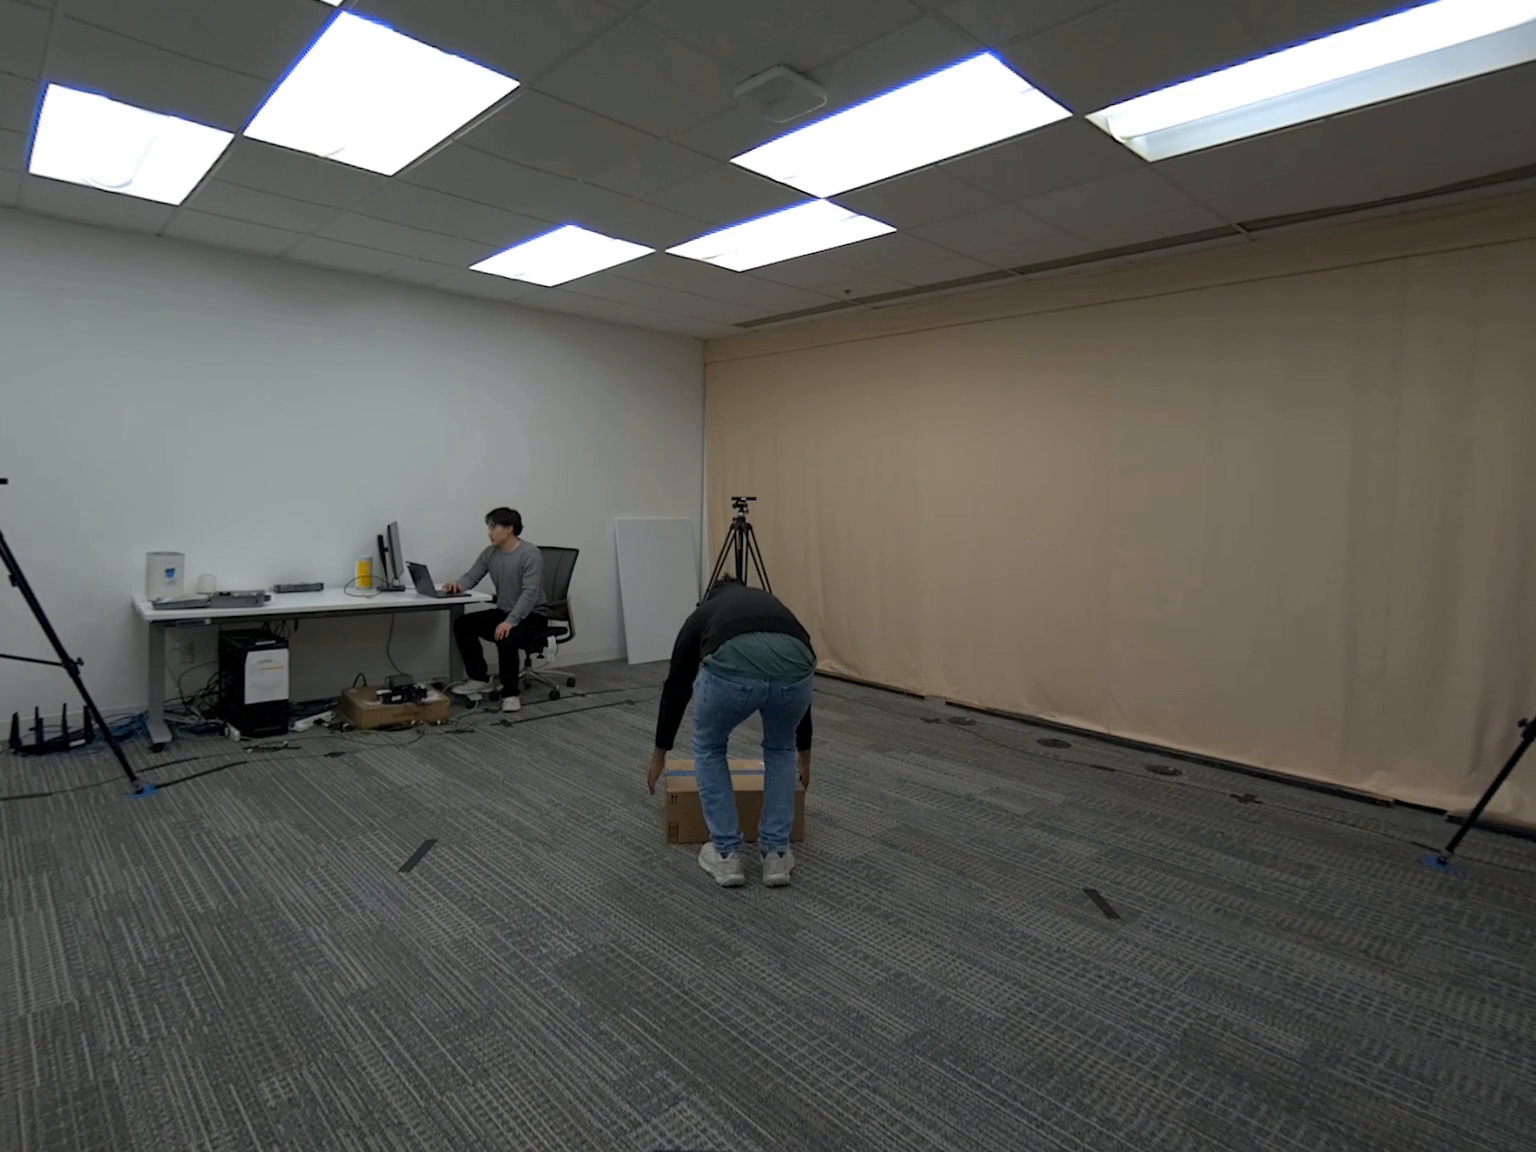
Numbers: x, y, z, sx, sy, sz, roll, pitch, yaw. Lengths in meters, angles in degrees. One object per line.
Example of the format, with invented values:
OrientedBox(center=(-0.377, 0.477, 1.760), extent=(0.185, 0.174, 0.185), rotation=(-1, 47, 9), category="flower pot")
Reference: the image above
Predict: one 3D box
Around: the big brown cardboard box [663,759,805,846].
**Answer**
OrientedBox(center=(-0.160, 0.955, 3.605), extent=(0.585, 0.232, 0.421), rotation=(0, 4, -8), category="big brown cardboard box")
